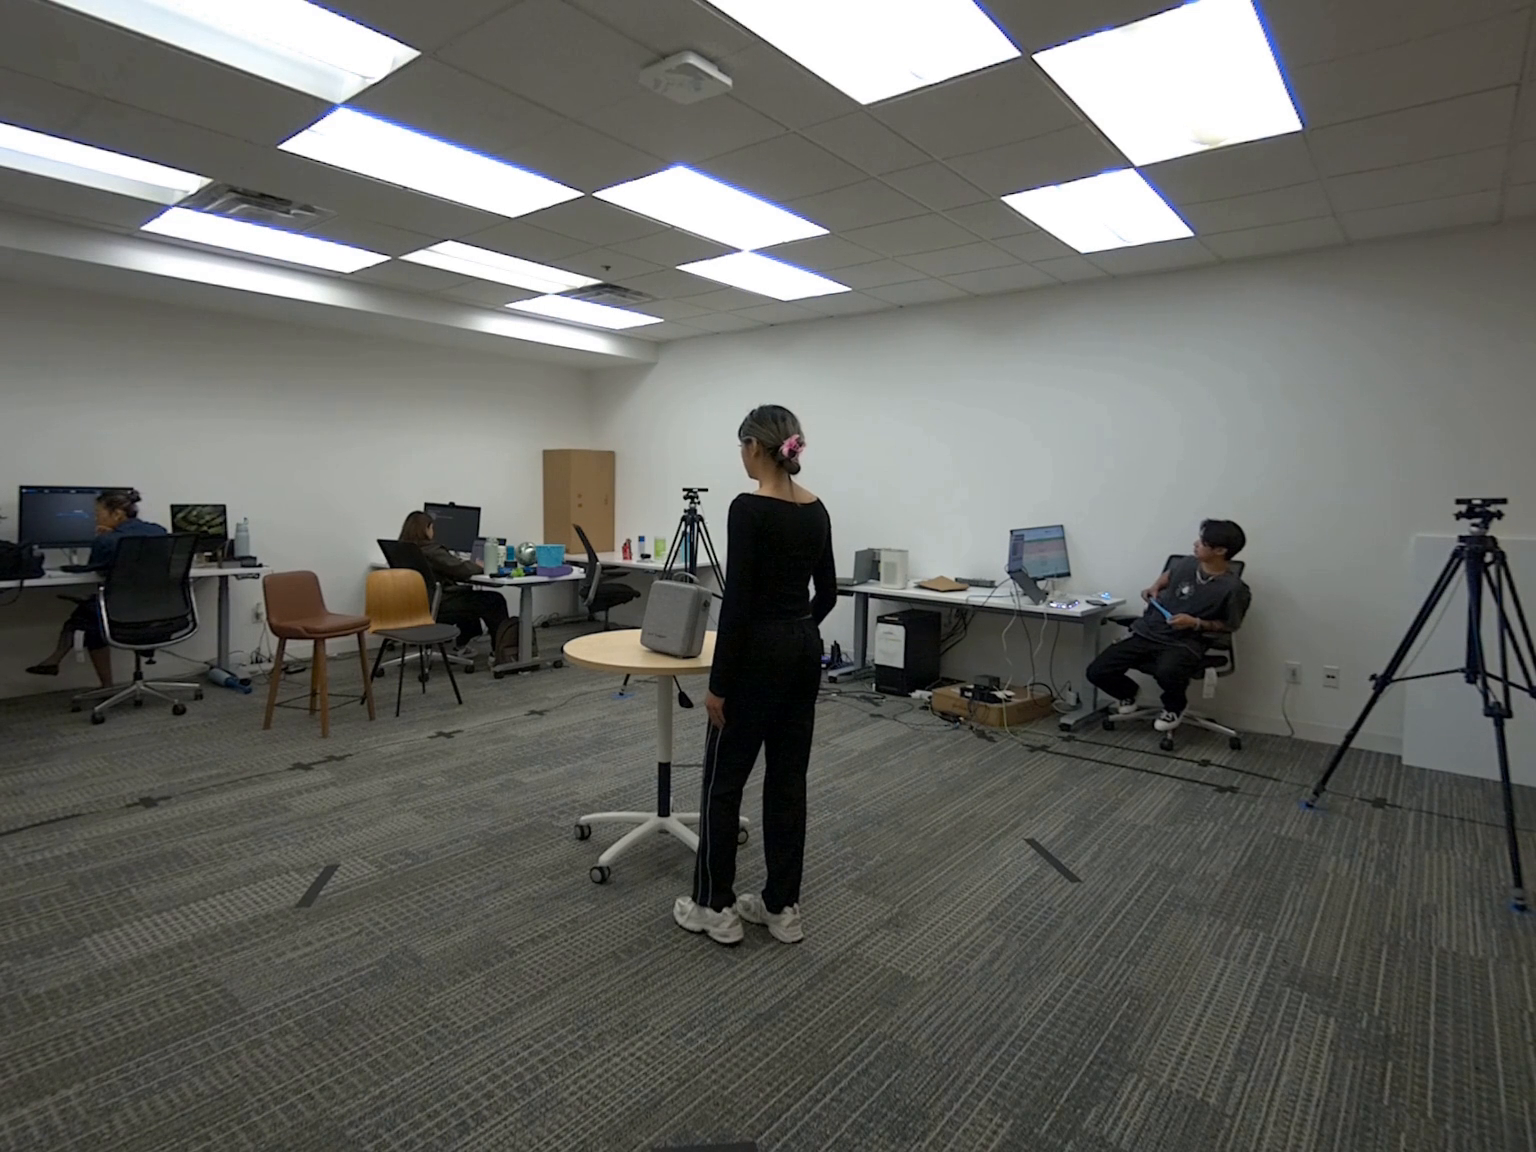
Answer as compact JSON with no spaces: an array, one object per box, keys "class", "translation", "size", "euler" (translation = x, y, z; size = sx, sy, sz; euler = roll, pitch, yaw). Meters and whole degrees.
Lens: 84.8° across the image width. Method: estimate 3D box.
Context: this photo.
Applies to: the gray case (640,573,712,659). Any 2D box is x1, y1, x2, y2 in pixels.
[{"class":"gray case","translation":[-0.345,0.146,3.085],"size":[0.266,0.261,0.100],"euler":[6,-6,46]}]
